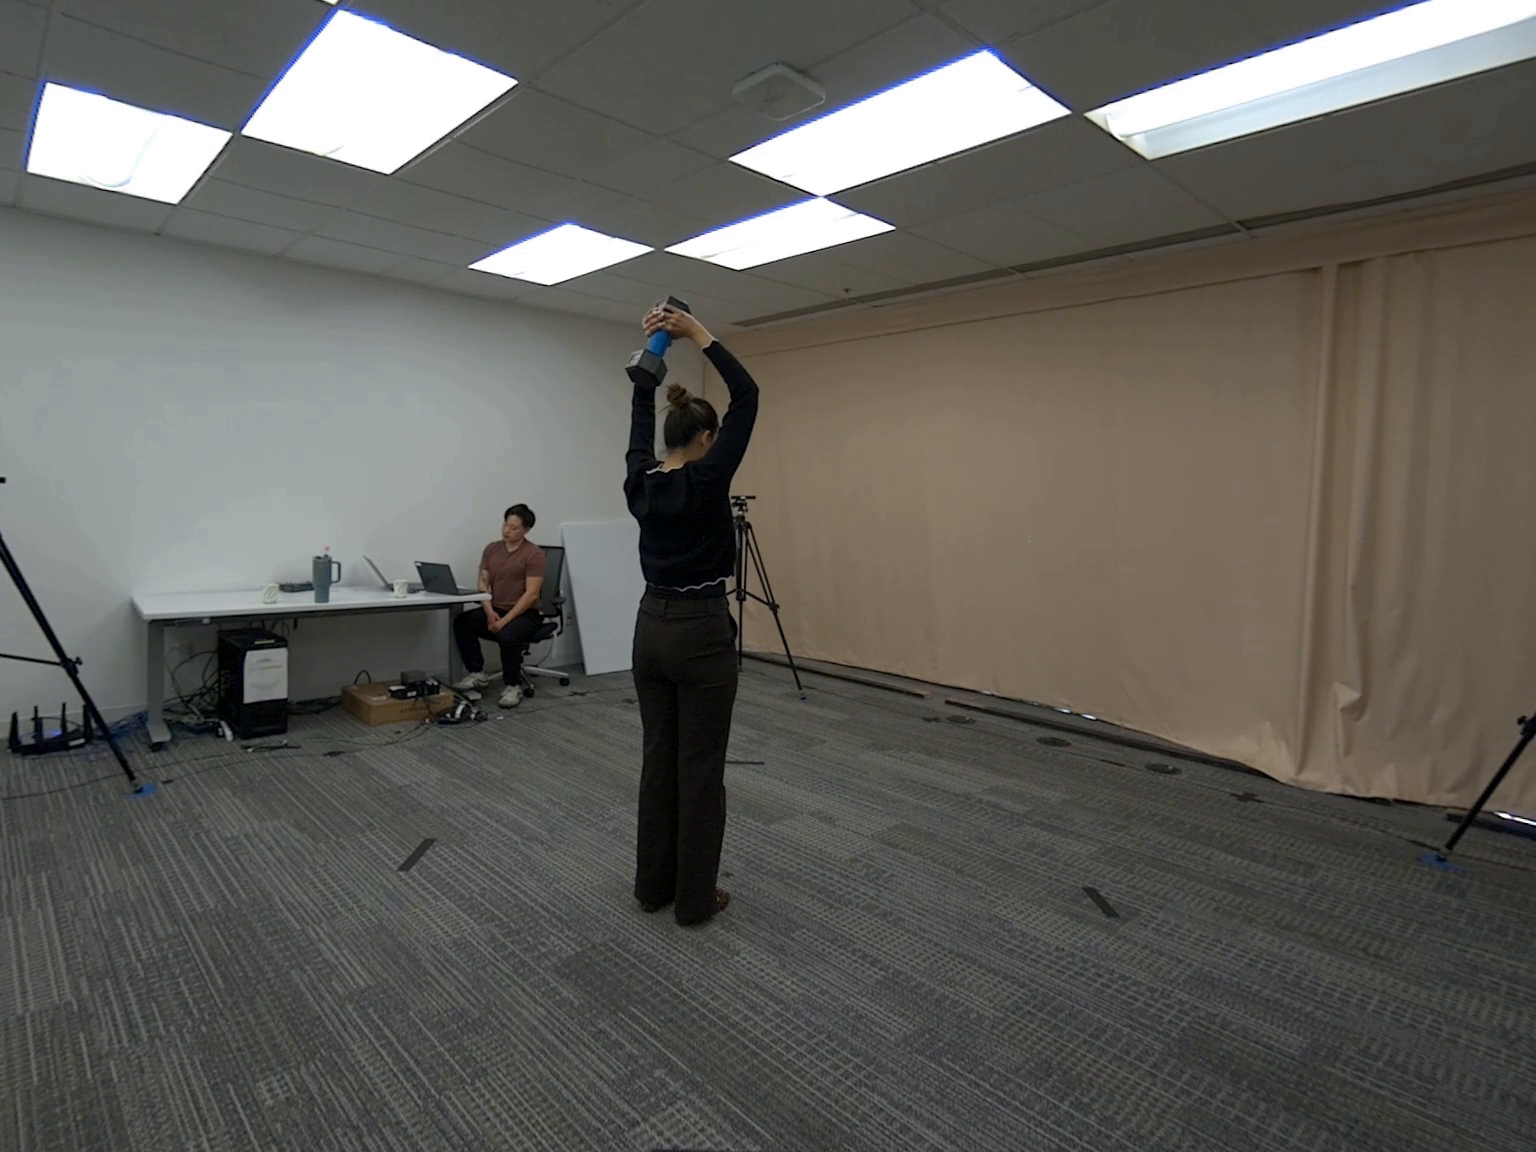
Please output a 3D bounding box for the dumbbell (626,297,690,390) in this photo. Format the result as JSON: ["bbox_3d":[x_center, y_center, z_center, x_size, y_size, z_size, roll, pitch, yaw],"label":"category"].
[{"bbox_3d":[-0.347,-0.734,2.639,0.111,0.295,0.120,14,-18,18],"label":"dumbbell"}]
